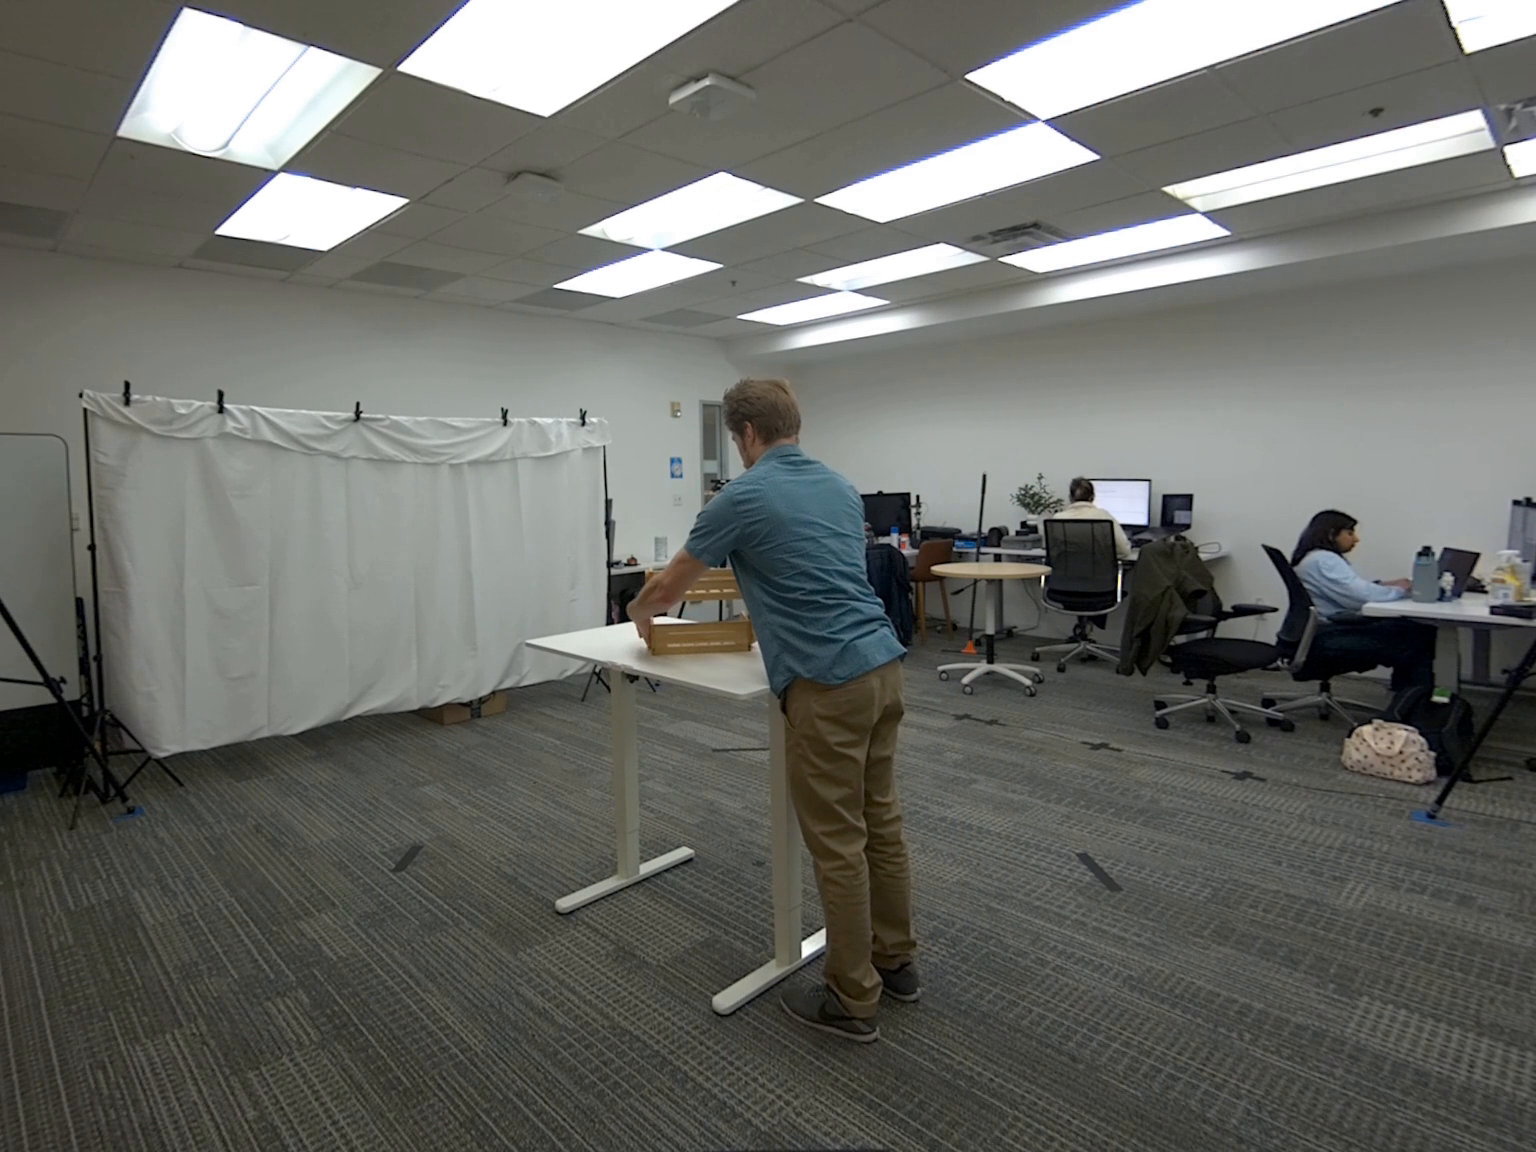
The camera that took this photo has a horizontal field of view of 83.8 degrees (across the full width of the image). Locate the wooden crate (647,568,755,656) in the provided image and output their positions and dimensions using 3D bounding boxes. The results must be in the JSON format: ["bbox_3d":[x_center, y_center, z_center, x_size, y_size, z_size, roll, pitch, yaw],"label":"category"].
[{"bbox_3d":[-0.222,0.092,2.648,0.322,0.272,0.305,-2,5,-8],"label":"wooden crate"}]
